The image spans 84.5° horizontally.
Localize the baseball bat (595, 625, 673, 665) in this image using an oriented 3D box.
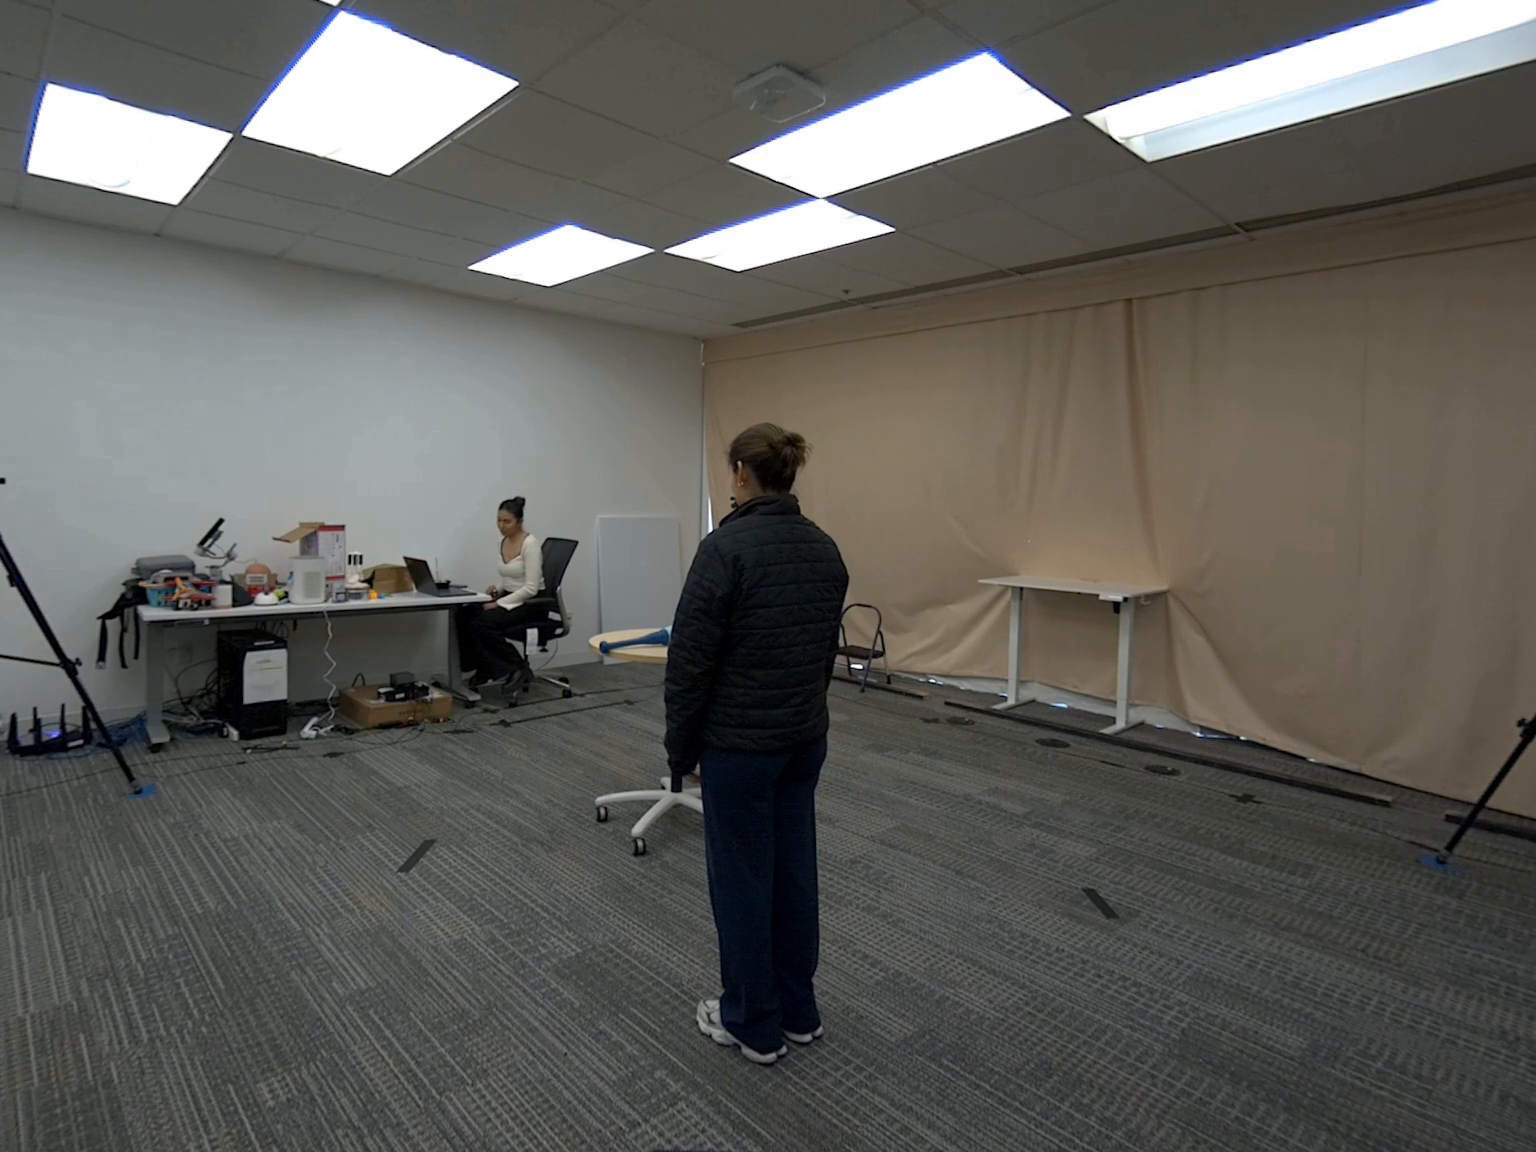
[{"bbox_3d":[-0.428,0.258,3.406,0.532,0.088,0.091,-8,9,-36],"label":"baseball bat"}]
